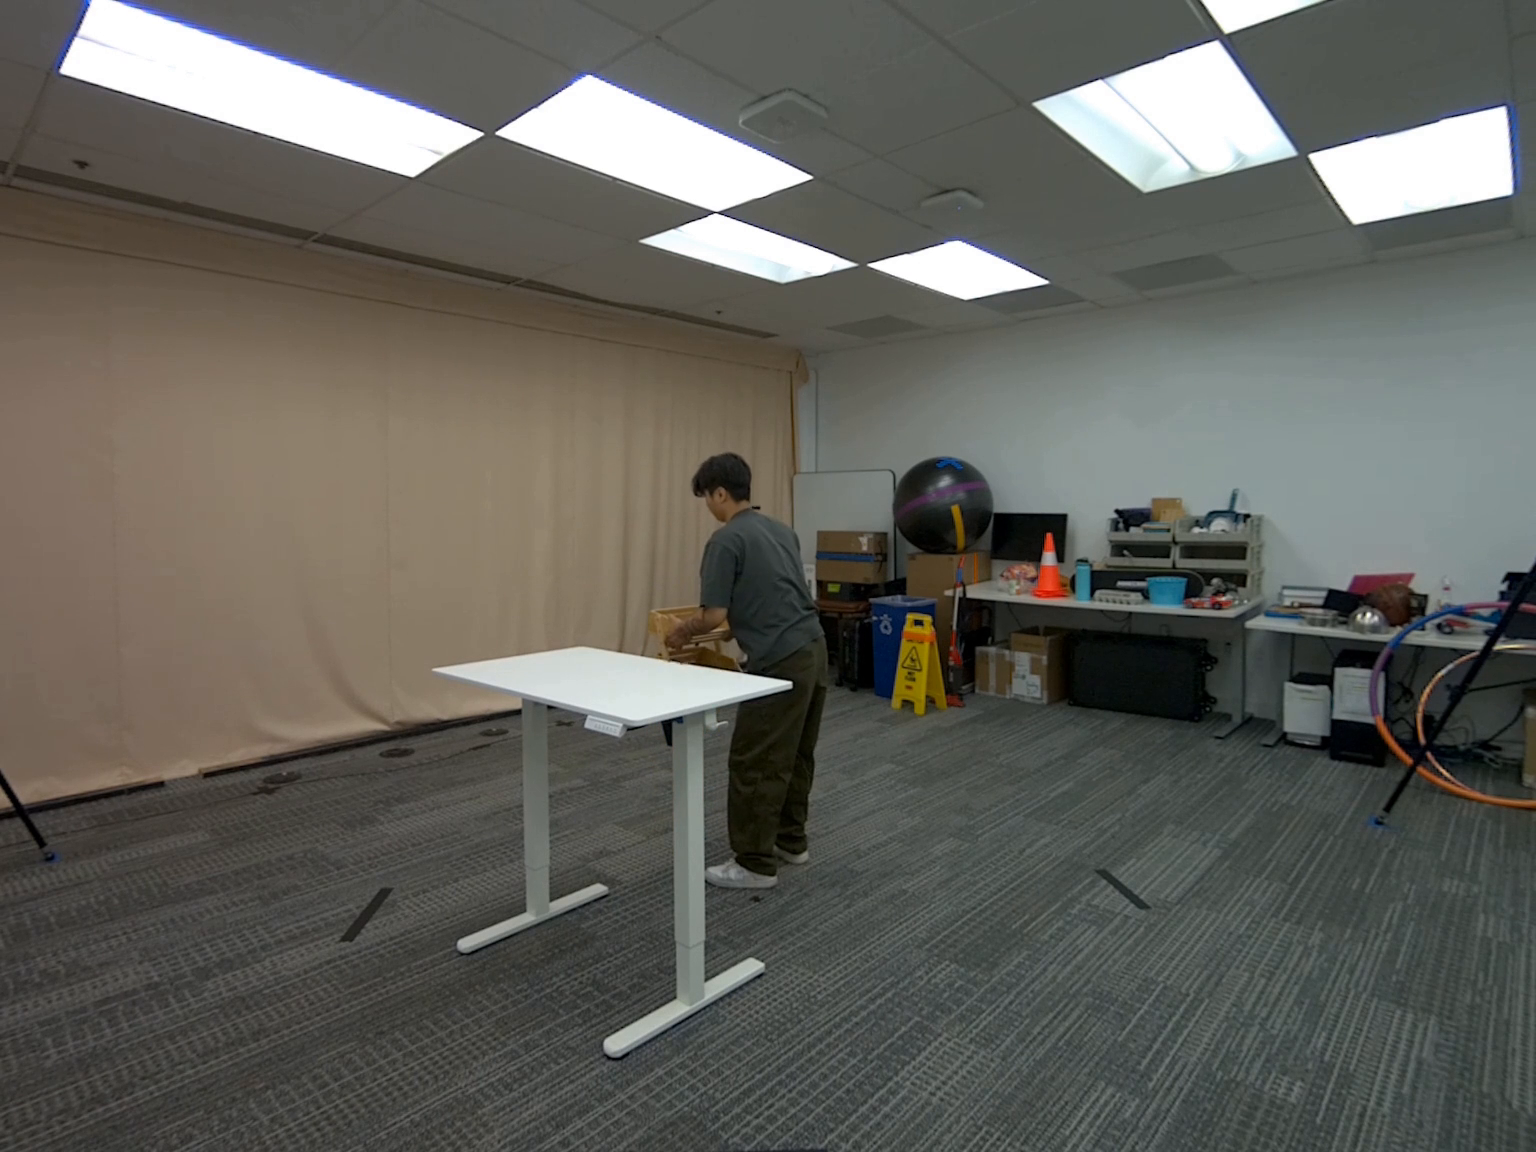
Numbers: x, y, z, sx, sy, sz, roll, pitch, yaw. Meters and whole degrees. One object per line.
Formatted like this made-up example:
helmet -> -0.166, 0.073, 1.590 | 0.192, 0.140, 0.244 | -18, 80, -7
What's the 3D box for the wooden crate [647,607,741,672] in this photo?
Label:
wooden crate -> -0.297, 0.290, 3.463 | 0.313, 0.272, 0.314 | 18, 13, 39
